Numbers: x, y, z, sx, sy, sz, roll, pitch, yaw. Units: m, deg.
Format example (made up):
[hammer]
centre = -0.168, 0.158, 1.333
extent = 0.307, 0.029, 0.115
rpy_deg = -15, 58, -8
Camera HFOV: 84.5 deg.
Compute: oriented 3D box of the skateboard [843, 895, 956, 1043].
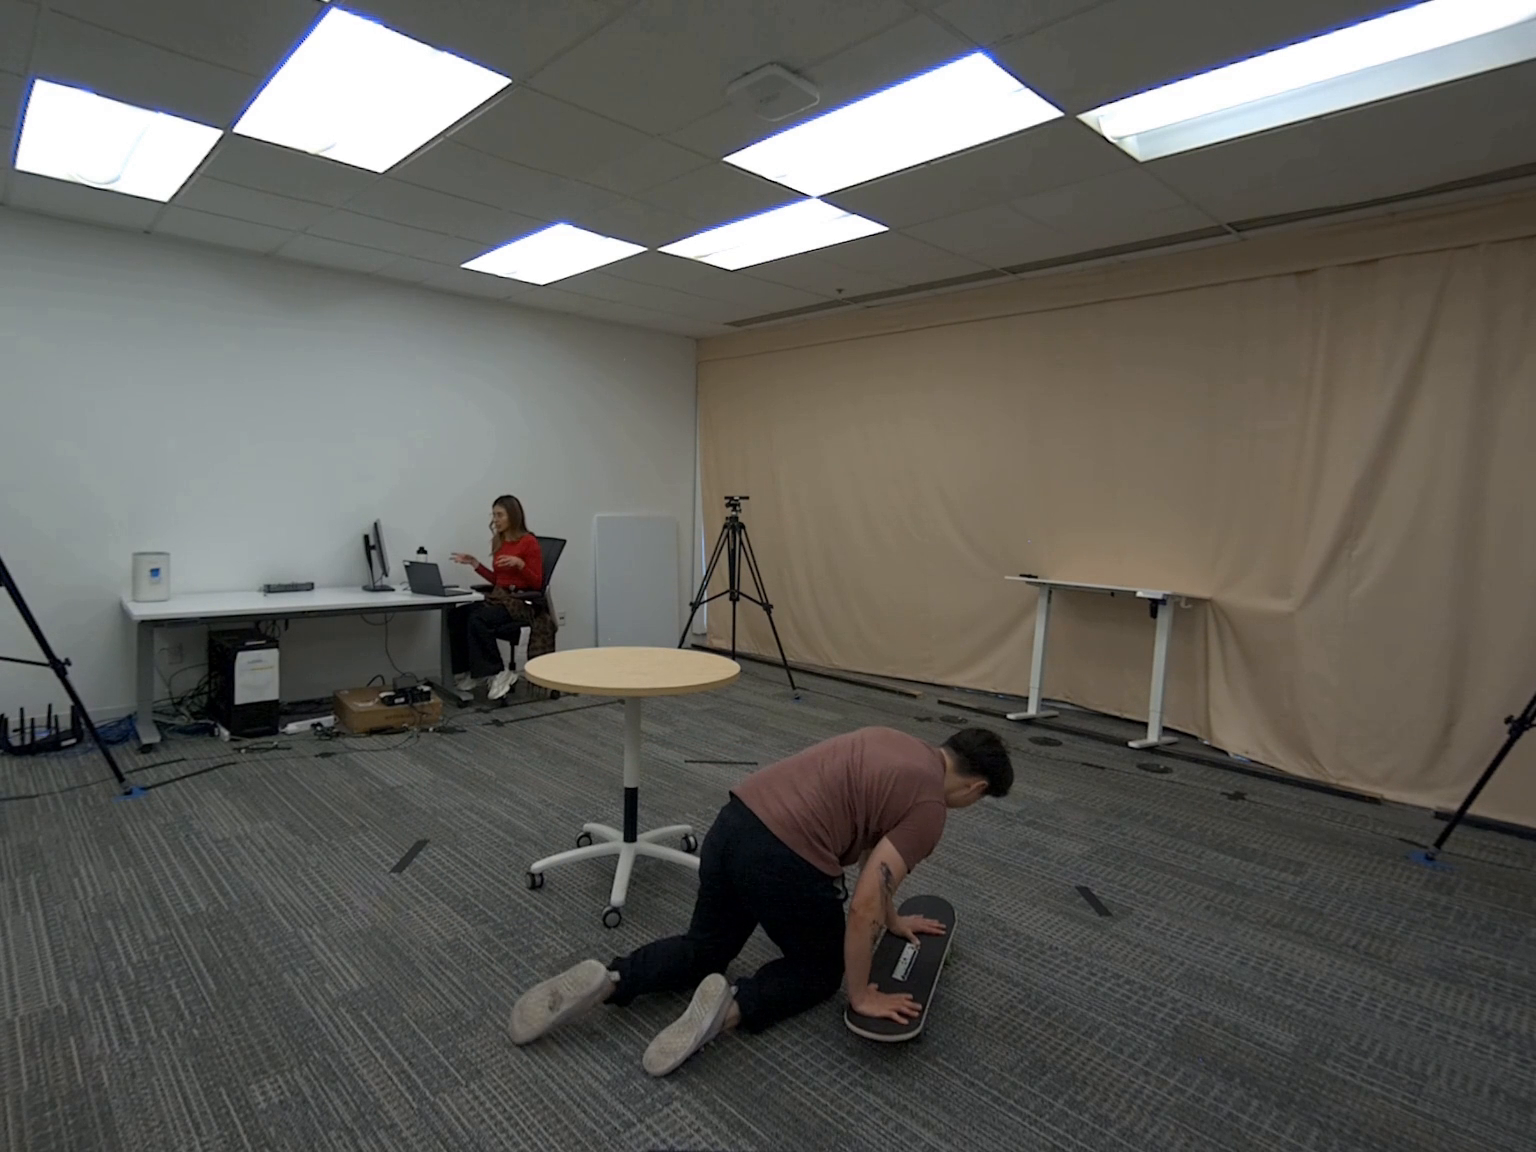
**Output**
[skateboard]
centre = 0.395, 1.129, 2.403
extent = 0.196, 0.110, 0.775
rpy_deg = 1, 5, 20
